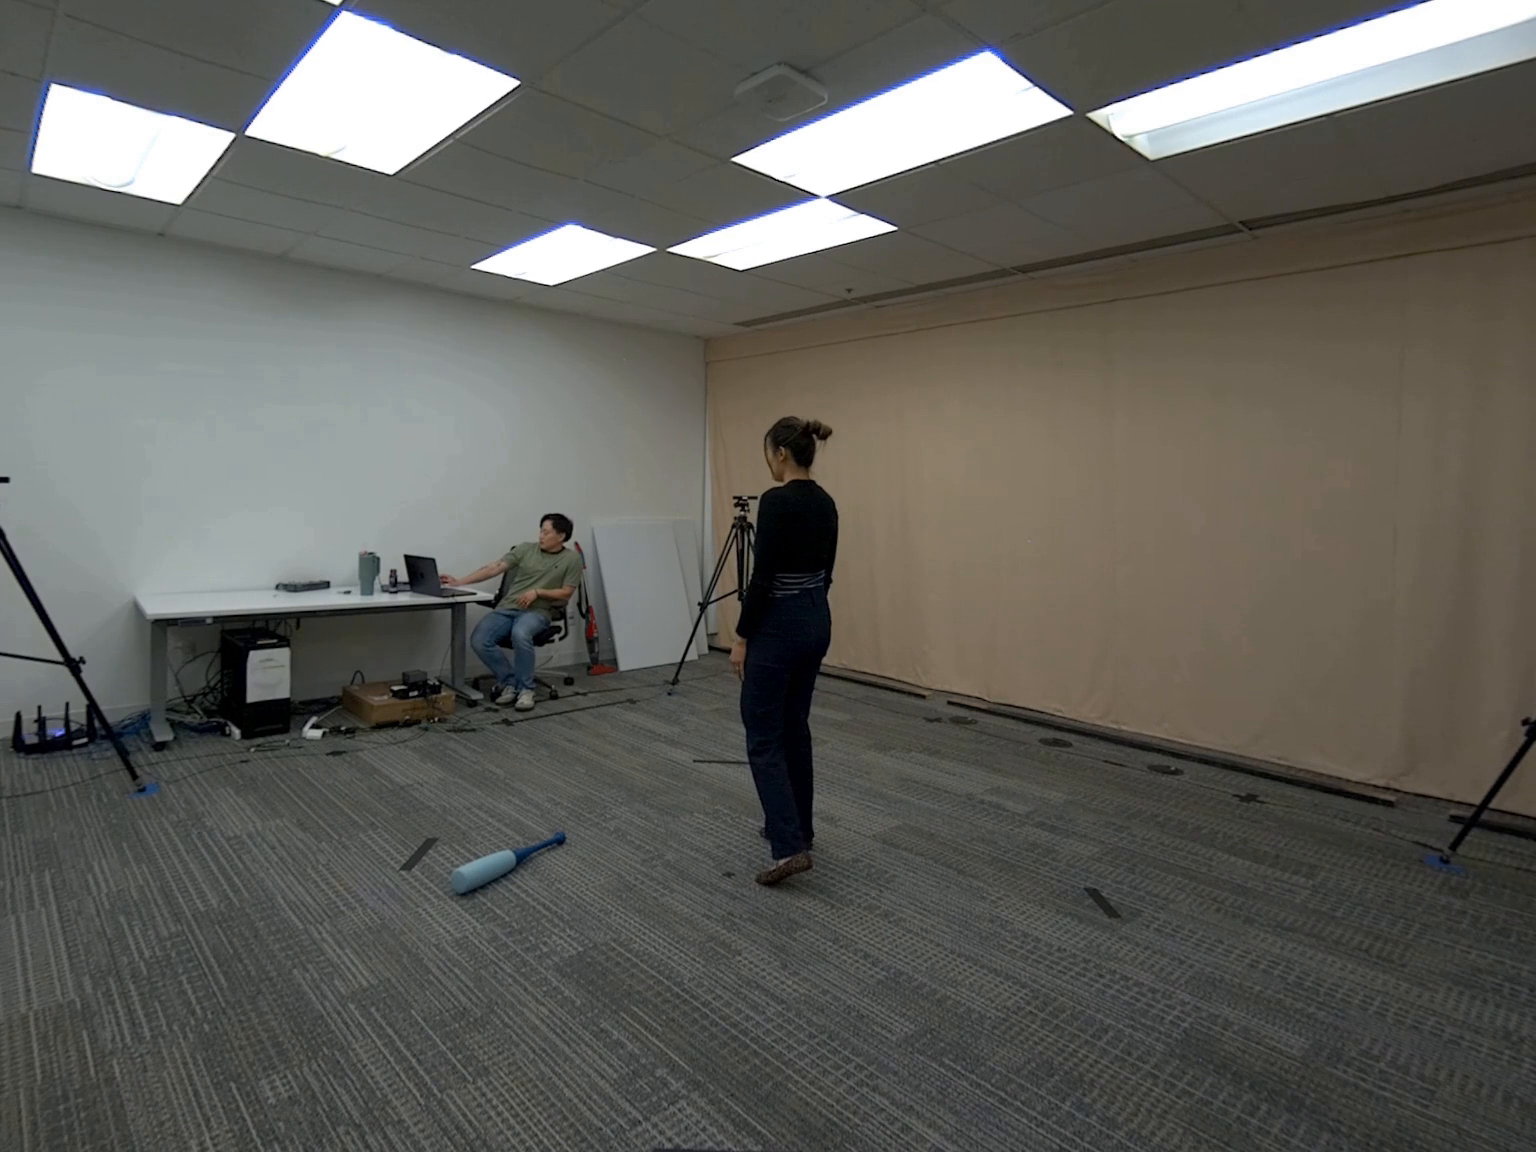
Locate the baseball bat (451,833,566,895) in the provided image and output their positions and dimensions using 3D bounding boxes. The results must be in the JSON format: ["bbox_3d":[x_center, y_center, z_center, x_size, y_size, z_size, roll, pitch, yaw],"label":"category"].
[{"bbox_3d":[-0.951,1.047,3.118,0.091,0.089,0.533,3,3,26],"label":"baseball bat"}]
